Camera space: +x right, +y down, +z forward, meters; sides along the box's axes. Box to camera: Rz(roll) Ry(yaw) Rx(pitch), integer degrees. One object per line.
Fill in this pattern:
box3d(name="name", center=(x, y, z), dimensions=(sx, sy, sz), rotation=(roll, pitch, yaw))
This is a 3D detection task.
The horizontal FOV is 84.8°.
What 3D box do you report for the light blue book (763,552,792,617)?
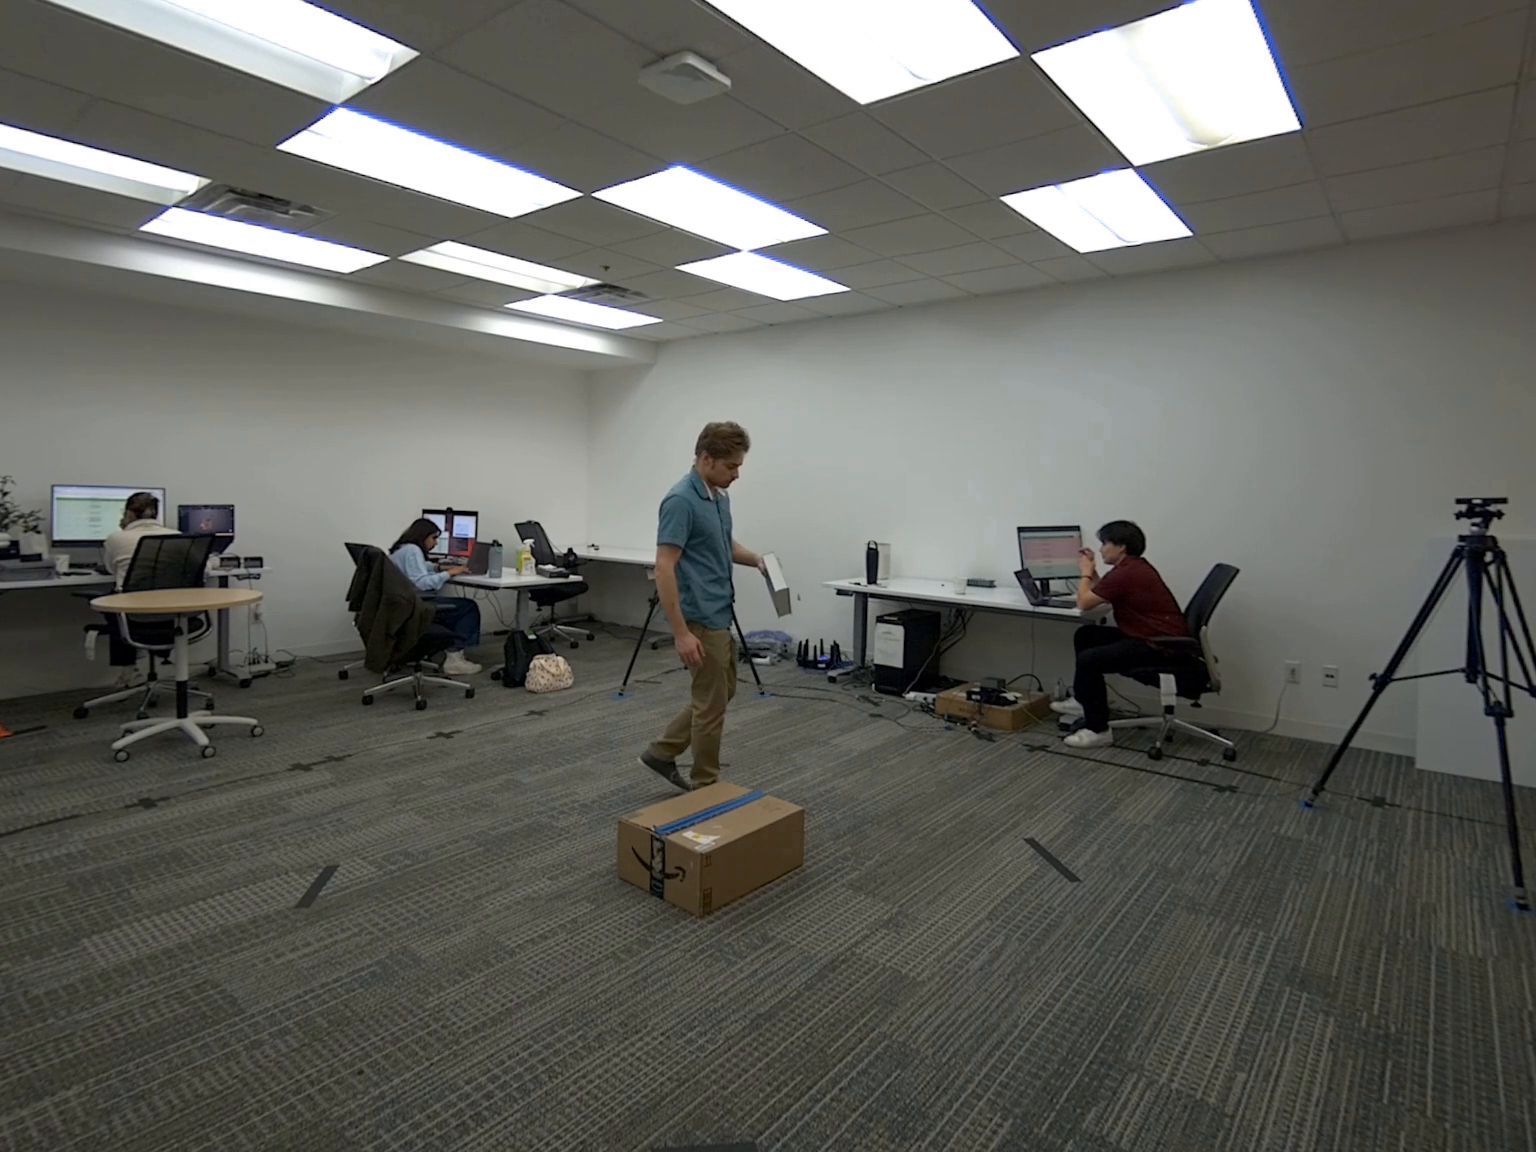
box3d(name="light blue book", center=(0.023, 0.042, 3.660), dimensions=(0.059, 0.198, 0.253), rotation=(-18, -29, -4))
